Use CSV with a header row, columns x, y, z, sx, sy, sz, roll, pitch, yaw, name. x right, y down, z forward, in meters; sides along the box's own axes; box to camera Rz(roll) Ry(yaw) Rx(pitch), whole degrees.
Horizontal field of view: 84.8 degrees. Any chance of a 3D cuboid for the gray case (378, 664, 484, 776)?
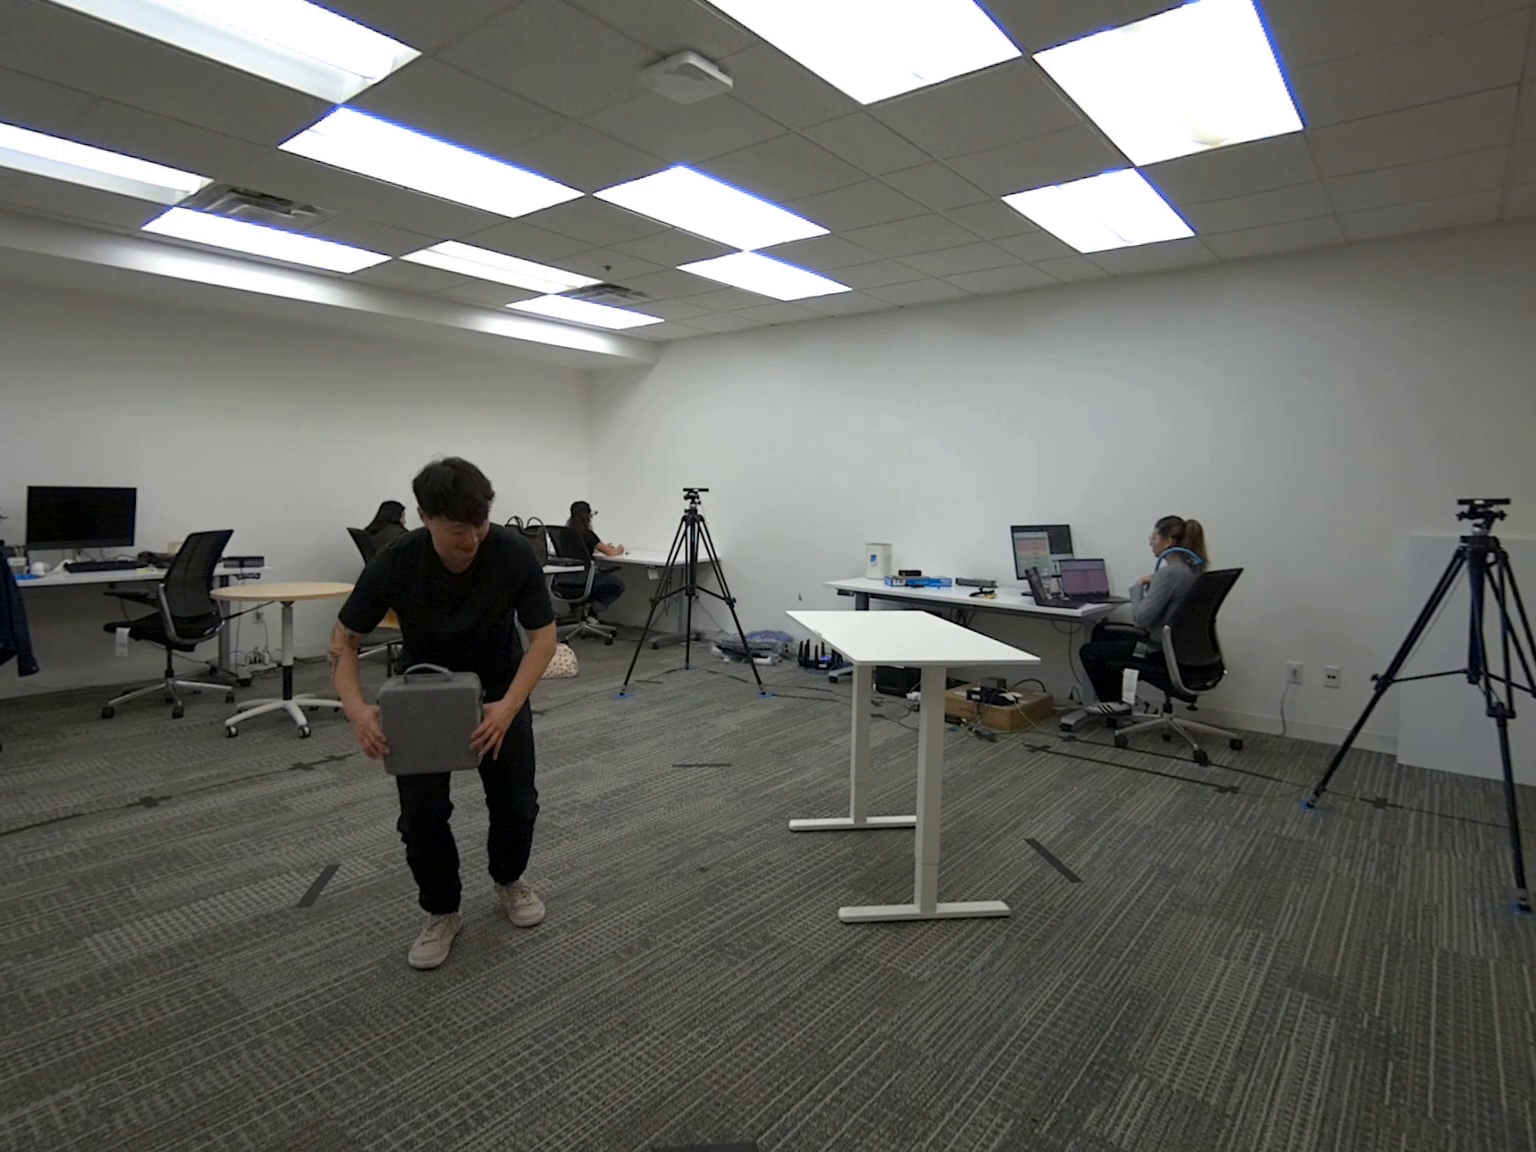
x,y,z,sx,sy,sz,roll,pitch,yaw,name
-0.902,0.383,2.243,0.254,0.257,0.107,-1,13,-11,gray case
